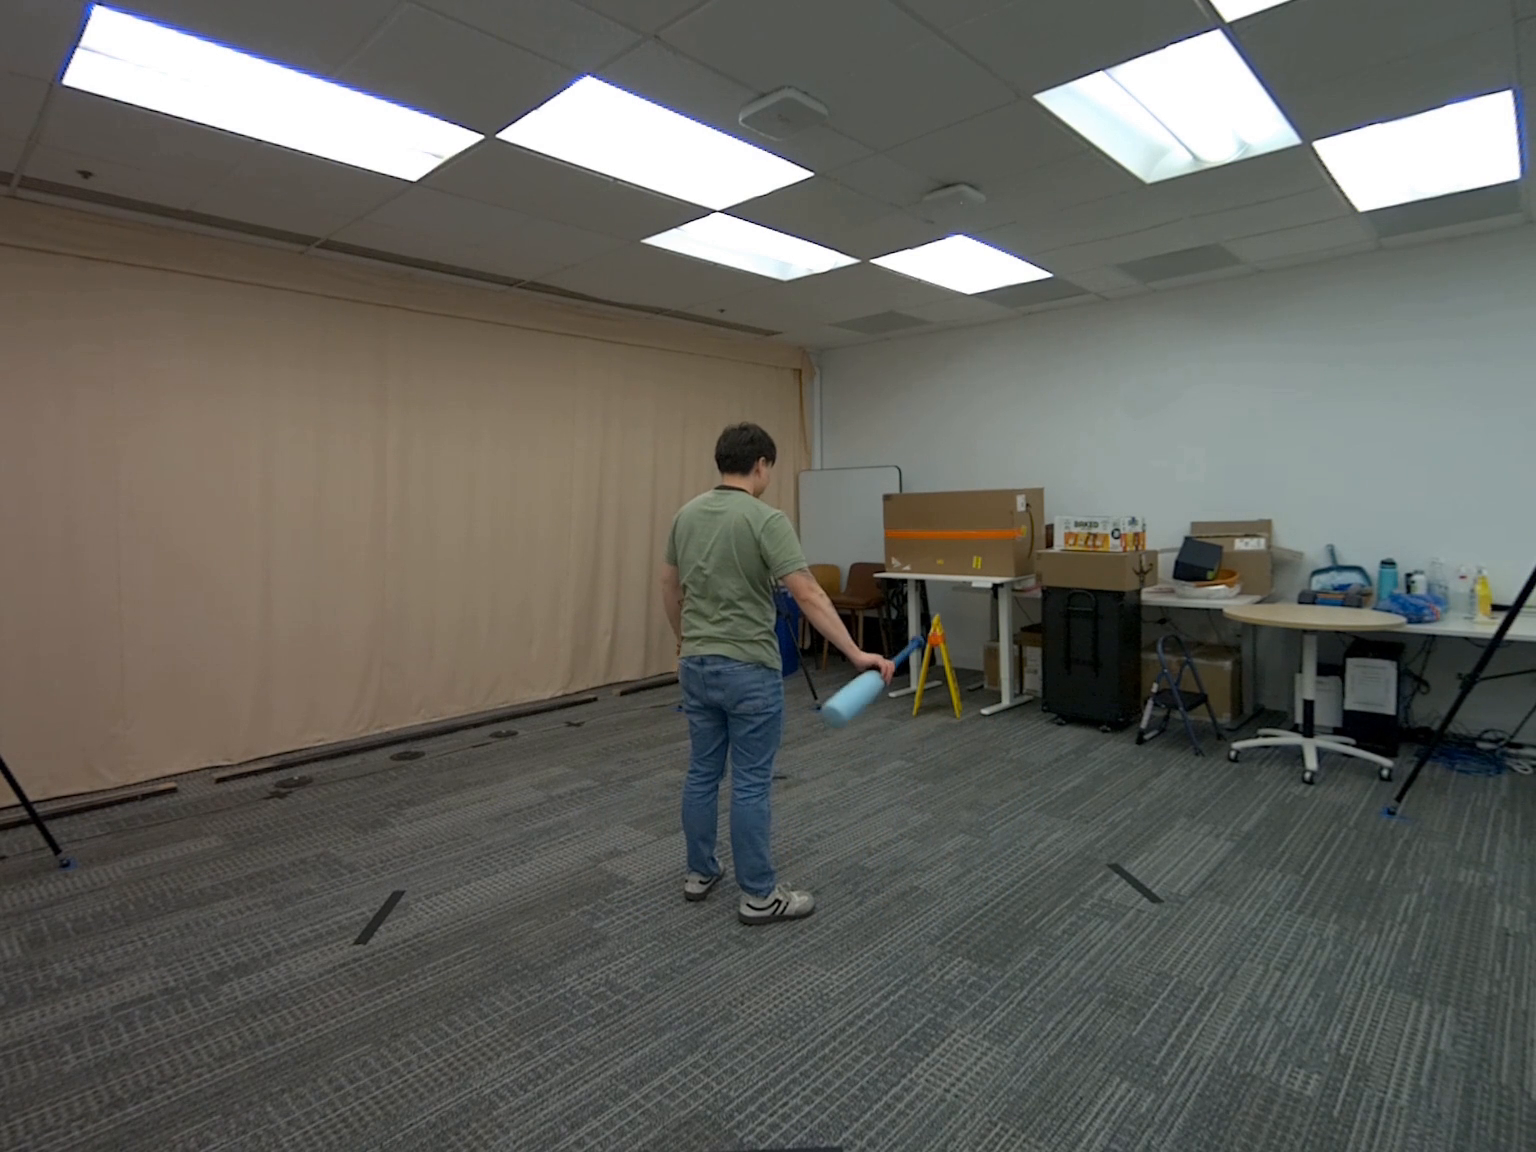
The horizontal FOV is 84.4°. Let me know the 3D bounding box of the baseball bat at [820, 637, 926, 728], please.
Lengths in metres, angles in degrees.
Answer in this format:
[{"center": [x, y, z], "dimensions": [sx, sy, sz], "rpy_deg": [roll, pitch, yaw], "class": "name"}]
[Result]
[{"center": [0.353, 0.317, 2.691], "dimensions": [0.092, 0.088, 0.532], "rpy_deg": [3, 23, 42], "class": "baseball bat"}]
